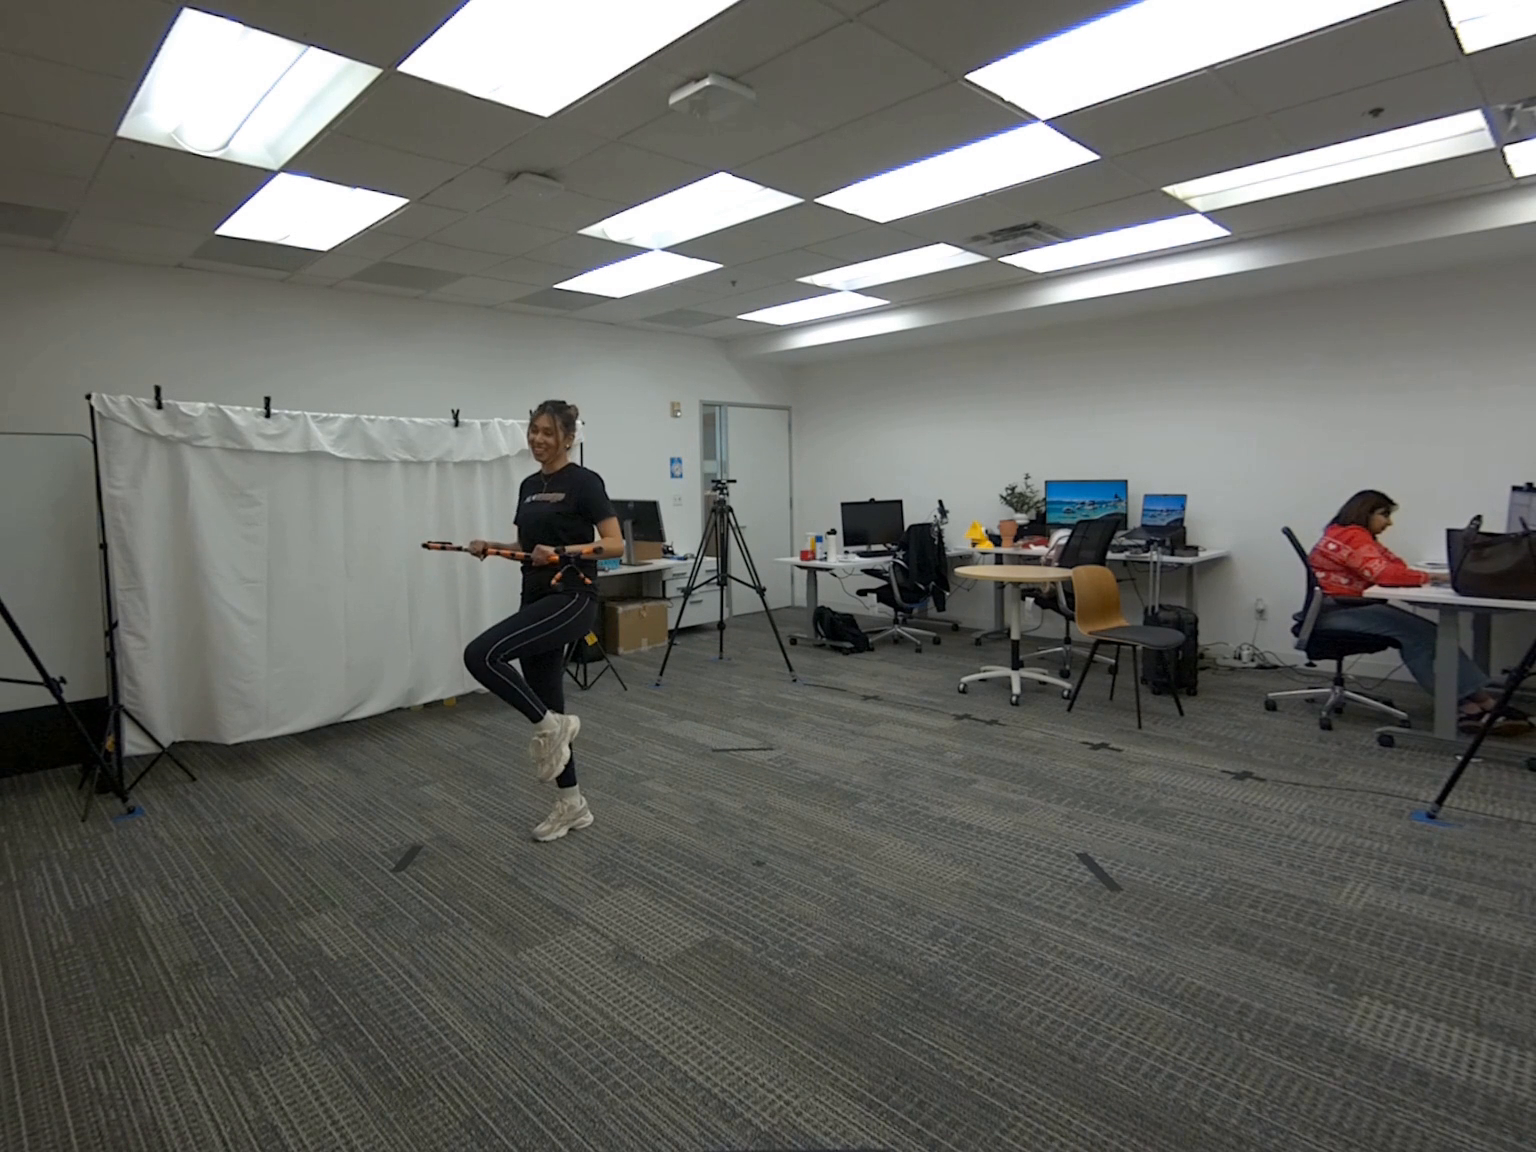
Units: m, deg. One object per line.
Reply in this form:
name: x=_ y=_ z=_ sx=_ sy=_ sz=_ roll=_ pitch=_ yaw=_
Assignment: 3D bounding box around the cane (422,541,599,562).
cane: x=-1.038 y=-0.076 z=3.213 sx=0.936 sy=0.151 sz=0.201 roll=6 pitch=5 yaw=38
